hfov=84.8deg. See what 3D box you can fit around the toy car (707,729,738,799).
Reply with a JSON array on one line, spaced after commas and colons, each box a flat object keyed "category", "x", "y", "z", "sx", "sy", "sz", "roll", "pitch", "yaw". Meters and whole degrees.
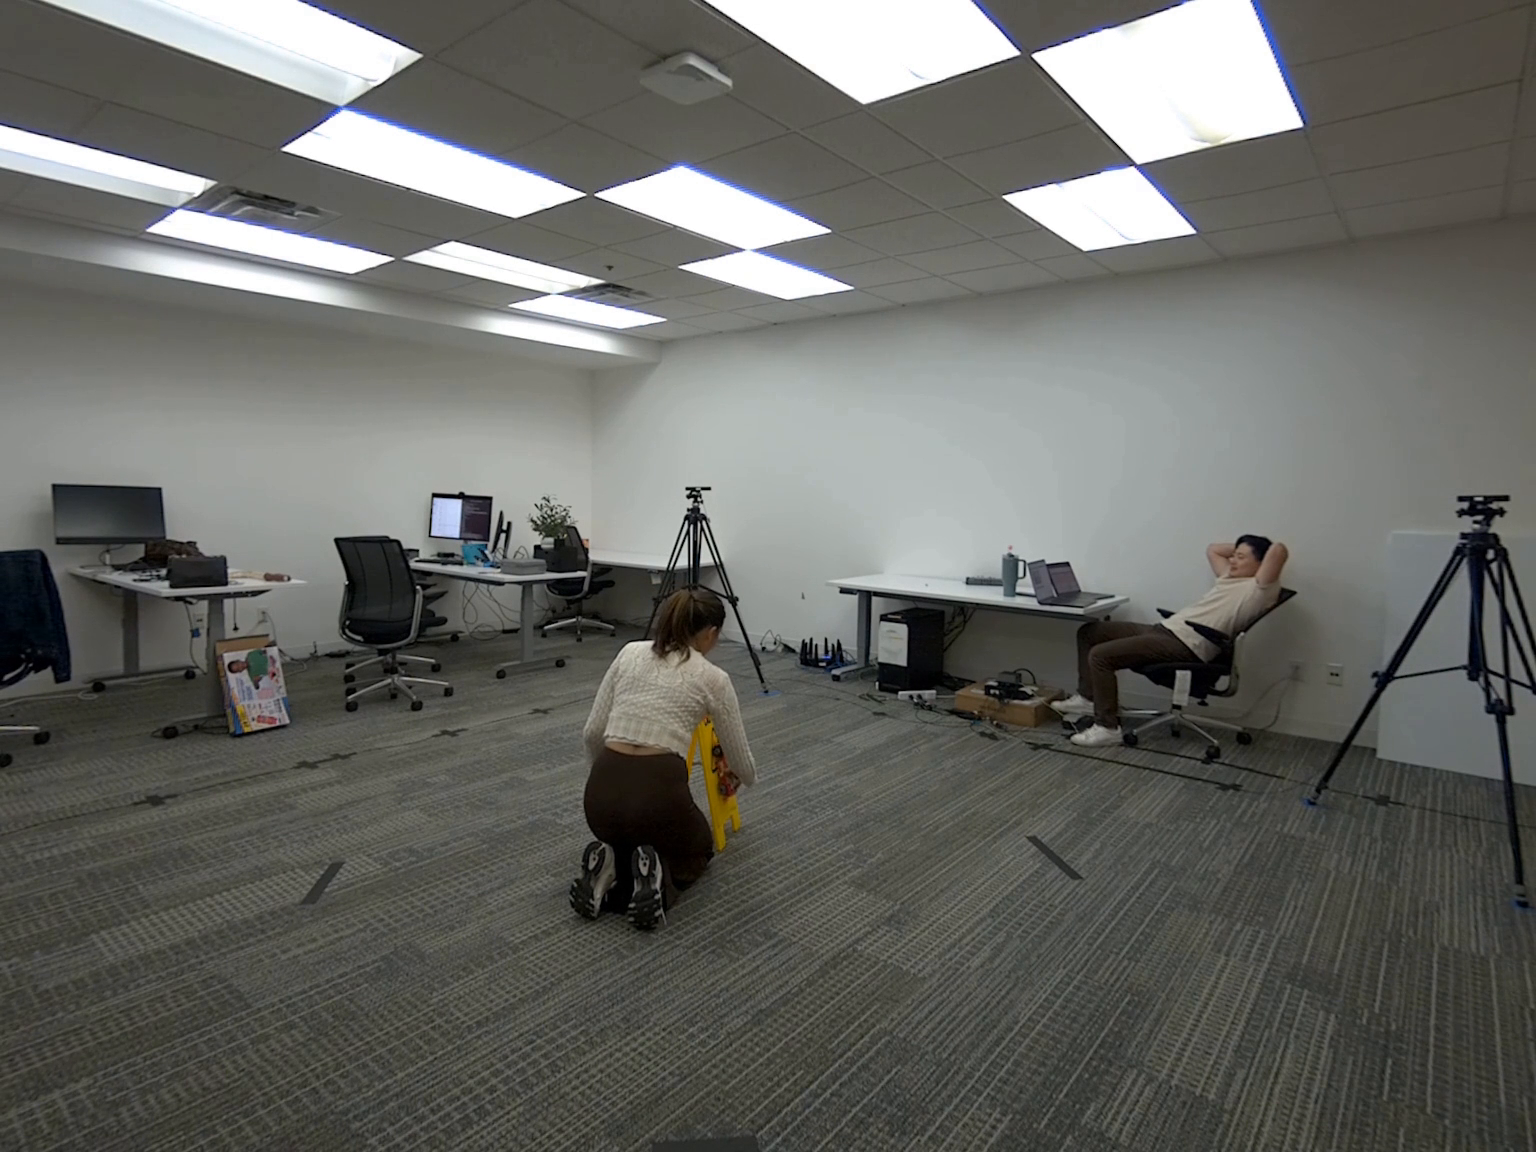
[{"category": "toy car", "x": -0.172, "y": 0.738, "z": 3.350, "sx": 0.085, "sy": 0.256, "sz": 0.127, "roll": 3, "pitch": -5, "yaw": 17}]
